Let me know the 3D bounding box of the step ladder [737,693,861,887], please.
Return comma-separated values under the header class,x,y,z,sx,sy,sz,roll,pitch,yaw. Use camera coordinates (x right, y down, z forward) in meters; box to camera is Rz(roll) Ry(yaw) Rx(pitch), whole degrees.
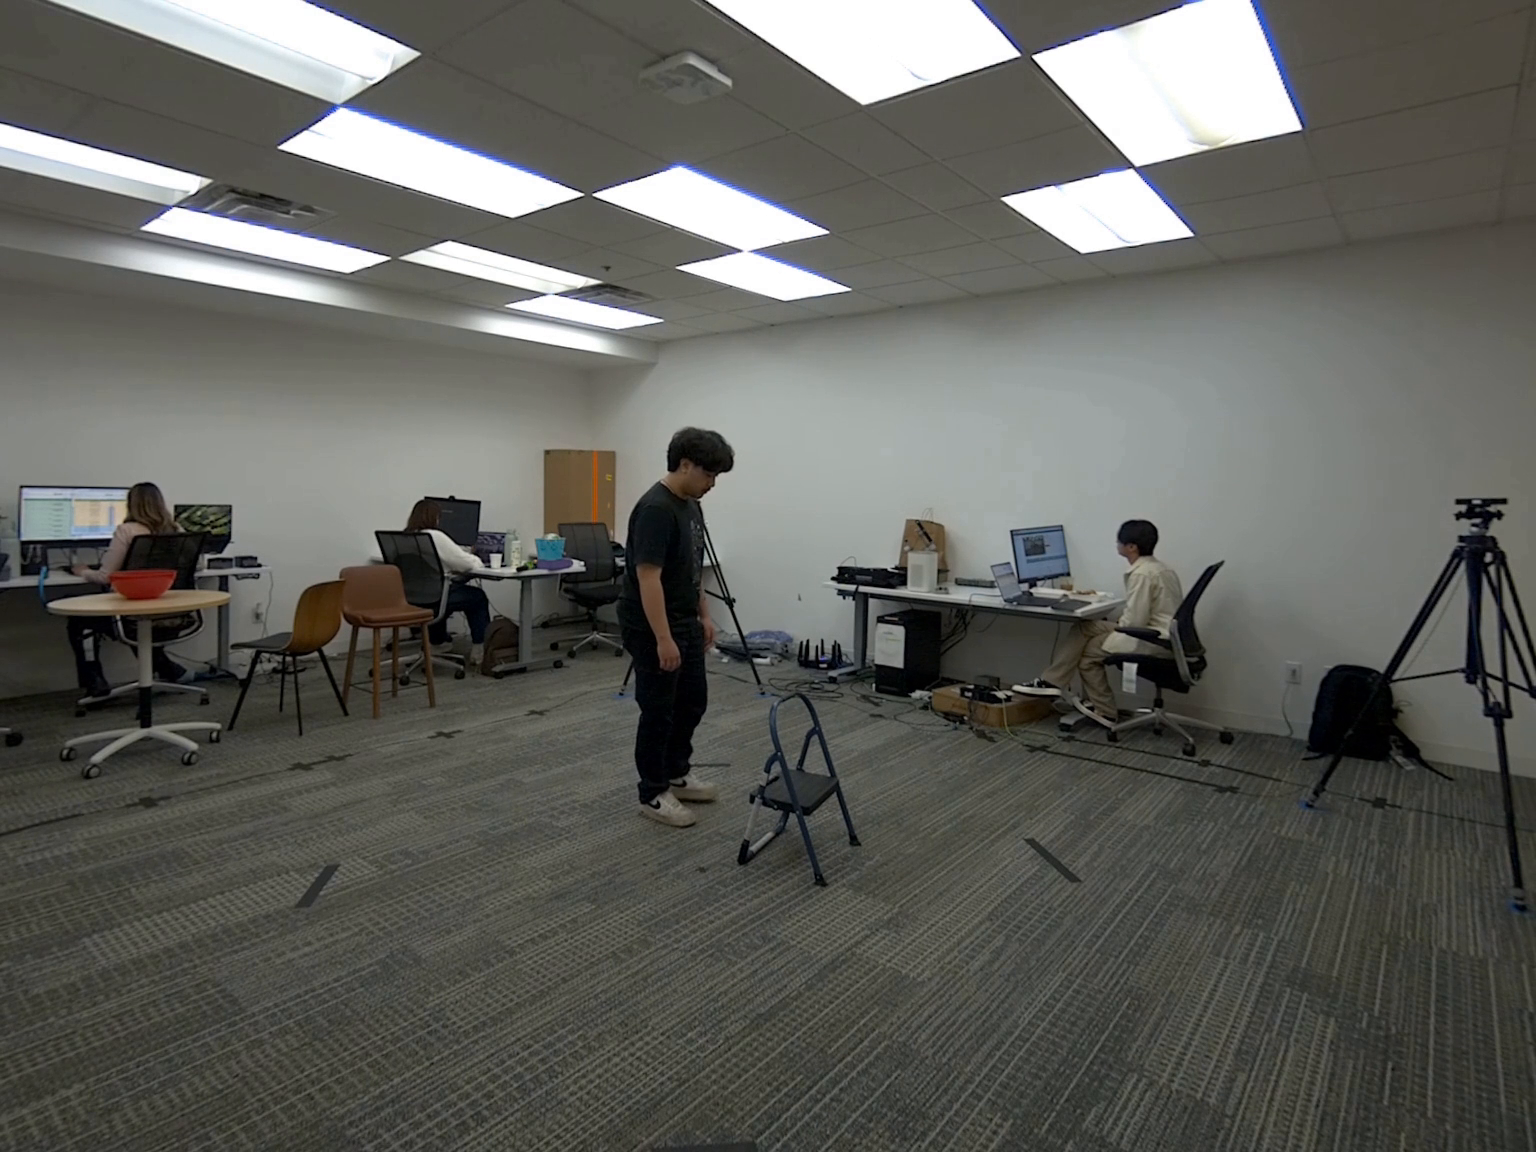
class,x,y,z,sx,sy,sz,roll,pitch,yaw
step ladder,0.126,0.759,3.243,0.358,0.604,0.421,4,4,25
